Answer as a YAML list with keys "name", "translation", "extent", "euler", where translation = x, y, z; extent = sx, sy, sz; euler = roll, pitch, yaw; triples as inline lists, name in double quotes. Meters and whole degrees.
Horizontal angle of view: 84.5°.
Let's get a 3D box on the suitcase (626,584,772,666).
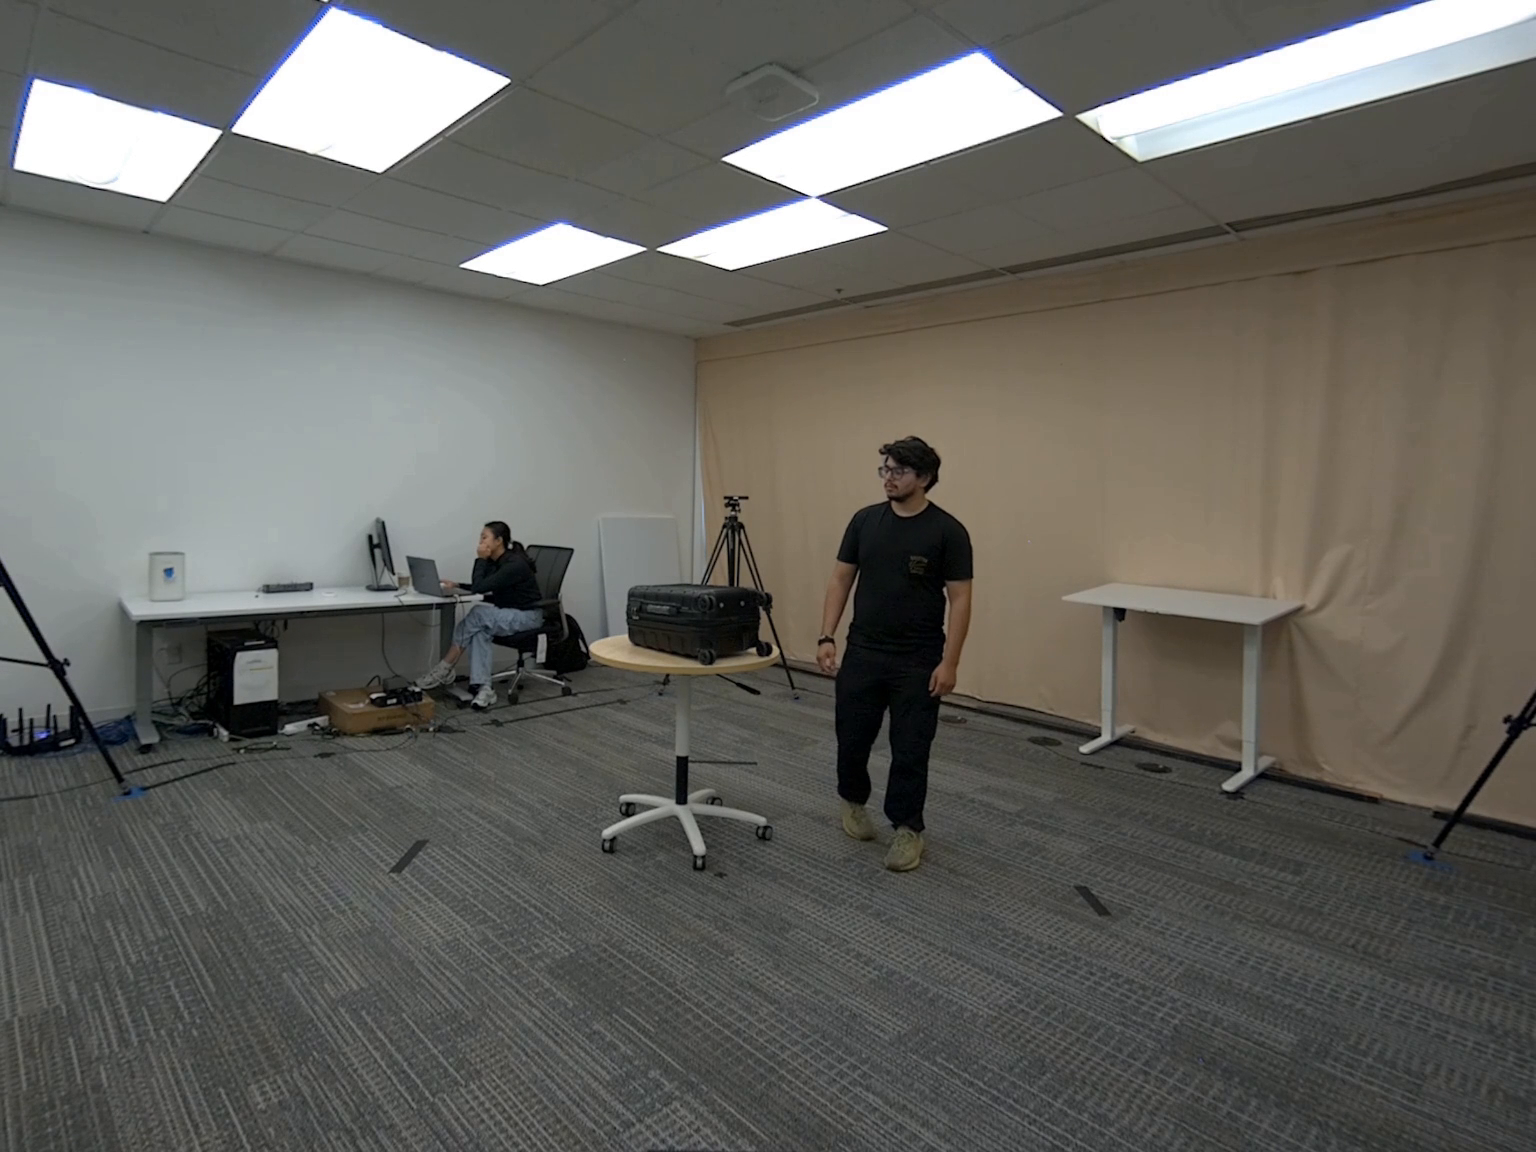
- name: "suitcase"
  translation: [-0.301, 0.171, 3.353]
  extent: [0.563, 0.248, 0.367]
  euler: [4, 5, 45]
